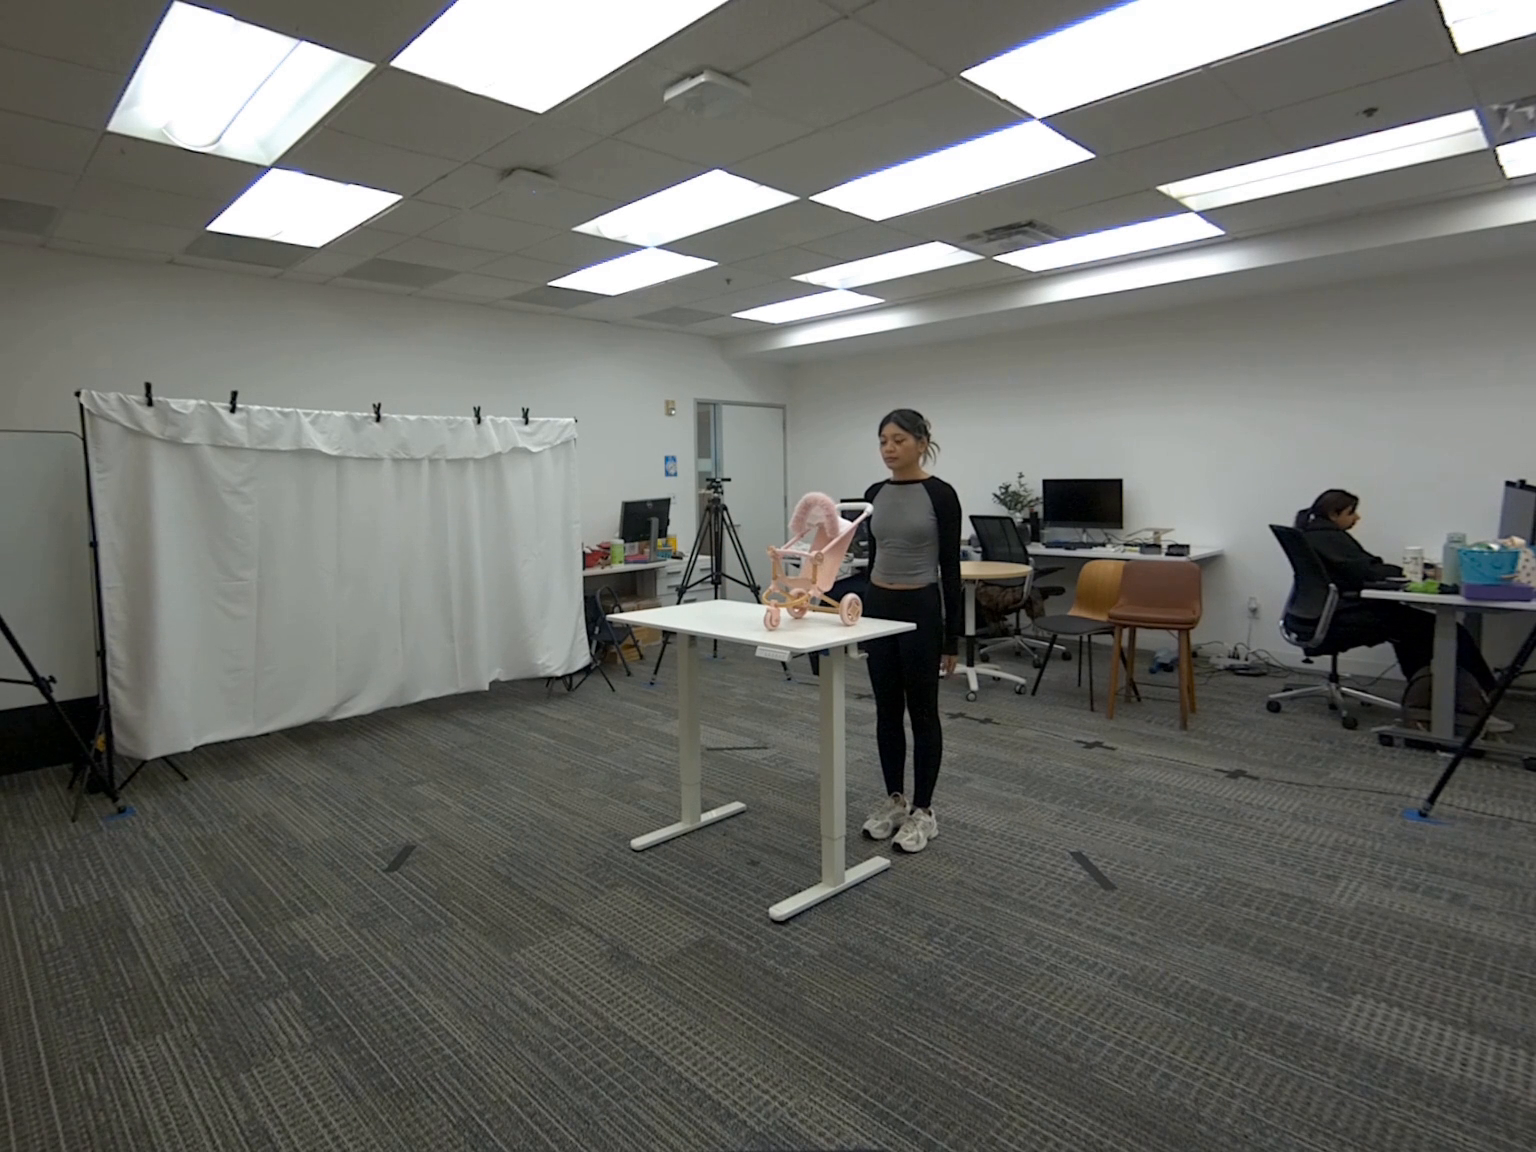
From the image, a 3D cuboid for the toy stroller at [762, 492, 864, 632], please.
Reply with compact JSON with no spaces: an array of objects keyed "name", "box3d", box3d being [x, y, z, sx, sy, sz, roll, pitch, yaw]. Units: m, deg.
[{"name":"toy stroller","box3d":[0.152,-0.054,2.976,0.329,0.538,0.290,18,-9,-39]}]
